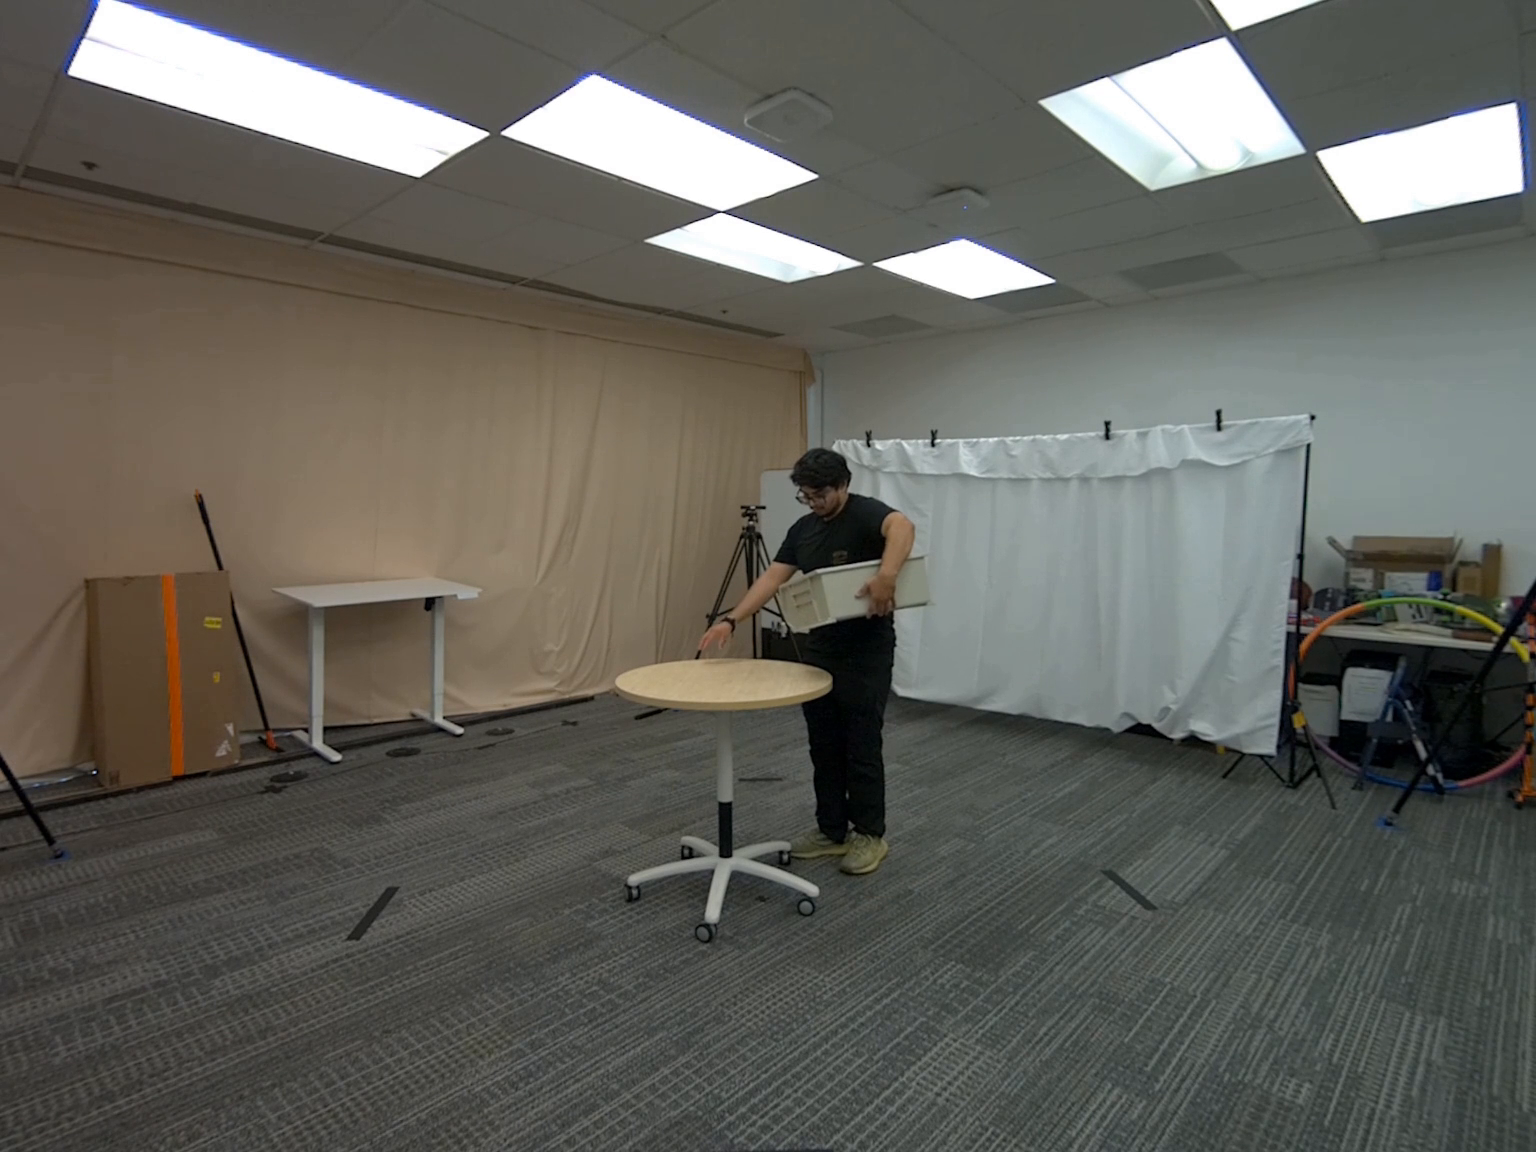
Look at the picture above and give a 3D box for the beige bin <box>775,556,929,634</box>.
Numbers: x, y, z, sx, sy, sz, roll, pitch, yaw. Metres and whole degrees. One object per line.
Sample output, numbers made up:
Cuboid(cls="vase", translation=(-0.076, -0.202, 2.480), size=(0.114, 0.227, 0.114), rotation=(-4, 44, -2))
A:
Cuboid(cls="beige bin", translation=(0.303, 0.067, 2.991), size=(0.415, 0.190, 0.382), rotation=(-9, -4, -19))
